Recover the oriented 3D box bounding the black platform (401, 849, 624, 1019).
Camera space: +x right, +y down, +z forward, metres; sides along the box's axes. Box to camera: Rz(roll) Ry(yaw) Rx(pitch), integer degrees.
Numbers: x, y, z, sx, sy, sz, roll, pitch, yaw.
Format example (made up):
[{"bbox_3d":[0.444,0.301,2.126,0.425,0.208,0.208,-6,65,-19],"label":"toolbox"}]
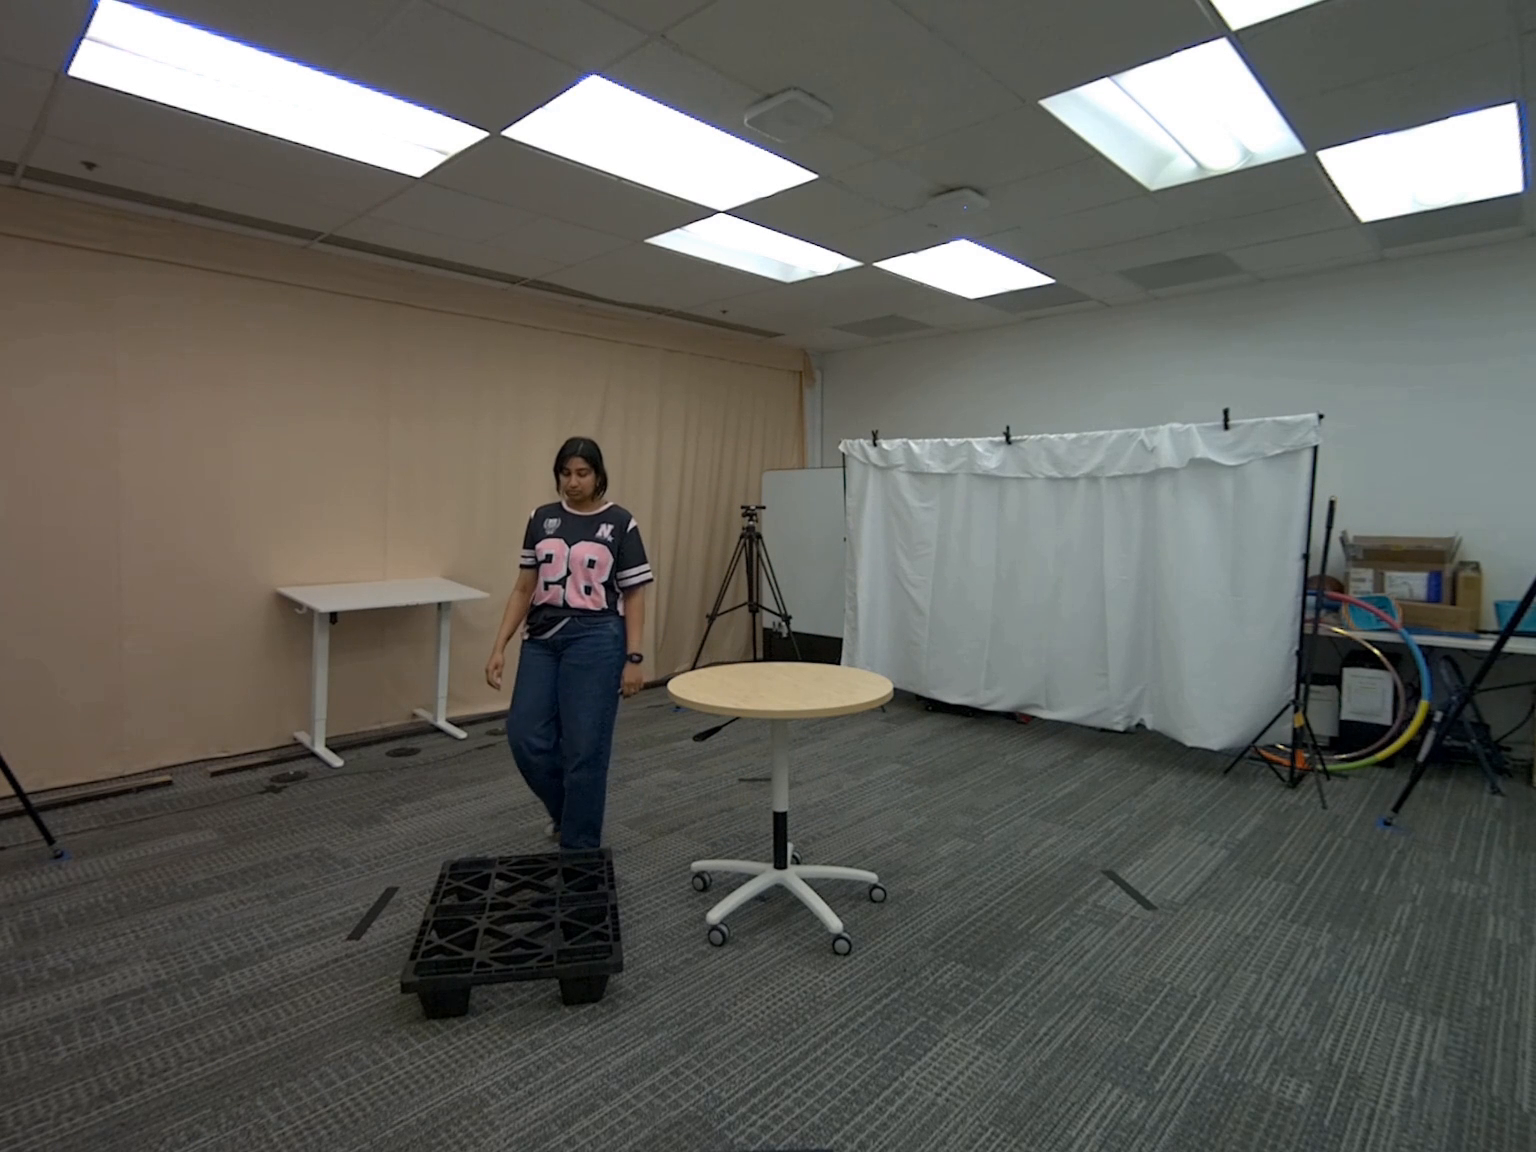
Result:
[{"bbox_3d":[-0.777,1.109,2.681,0.598,0.143,0.817,-1,5,-12],"label":"black platform"}]
